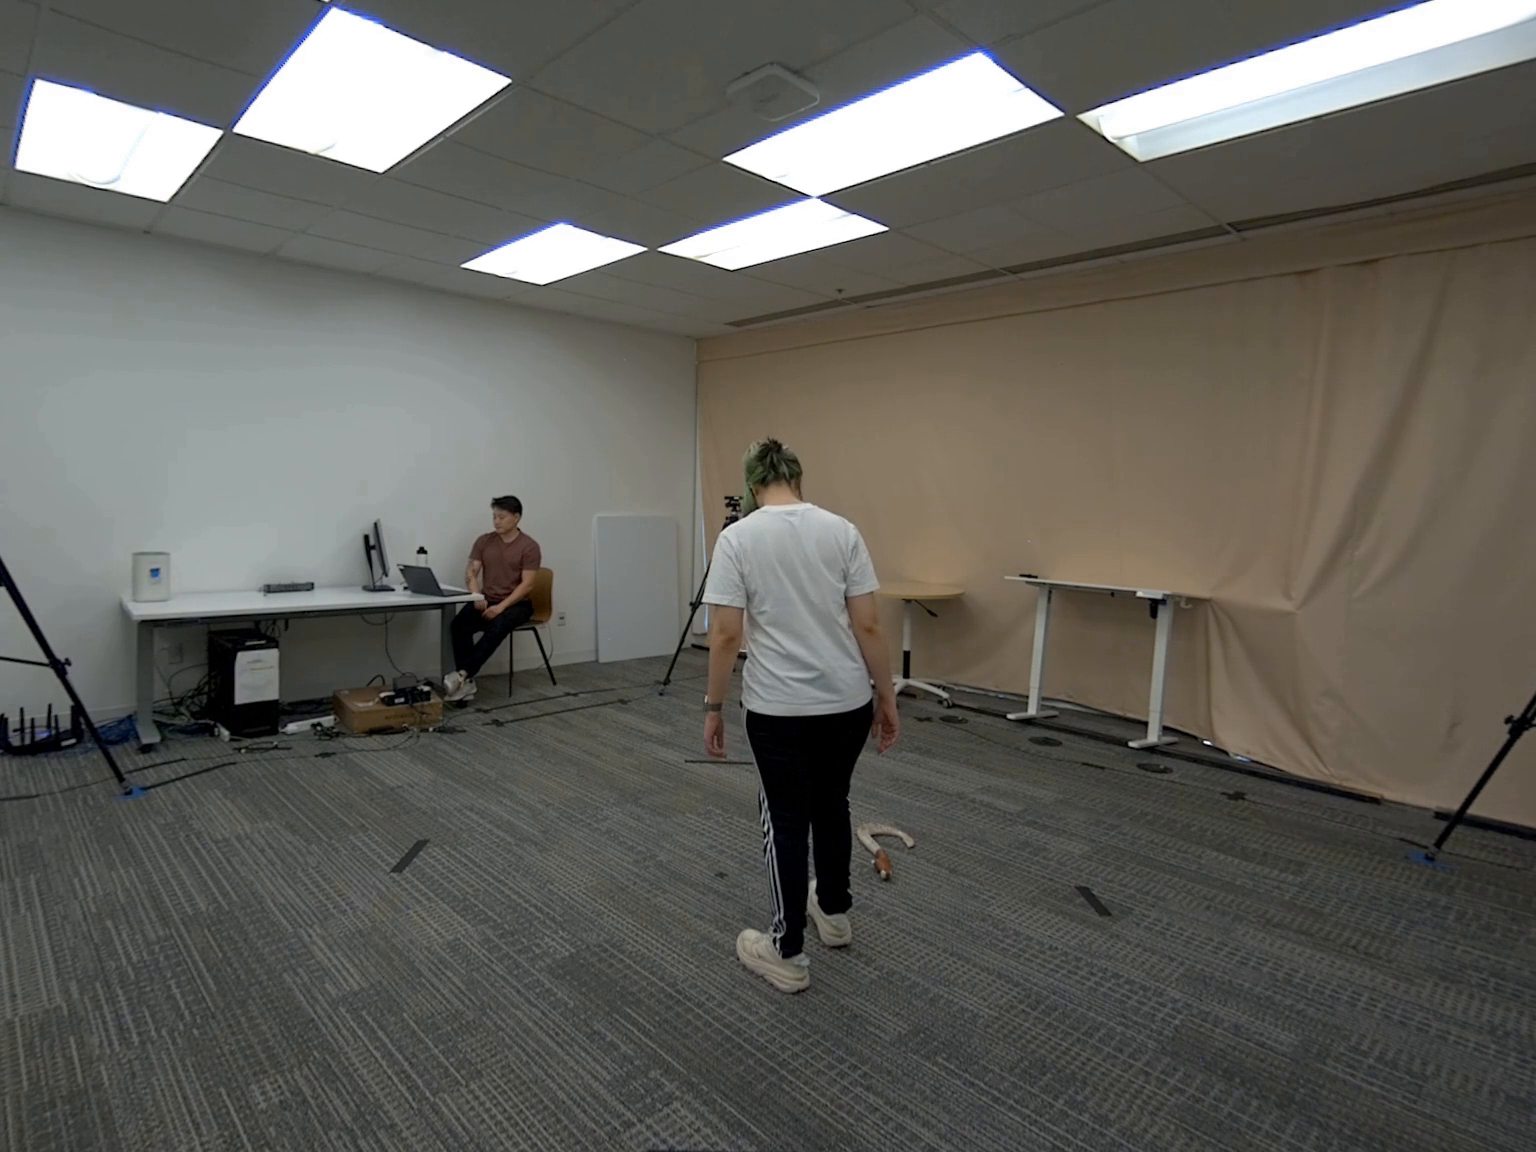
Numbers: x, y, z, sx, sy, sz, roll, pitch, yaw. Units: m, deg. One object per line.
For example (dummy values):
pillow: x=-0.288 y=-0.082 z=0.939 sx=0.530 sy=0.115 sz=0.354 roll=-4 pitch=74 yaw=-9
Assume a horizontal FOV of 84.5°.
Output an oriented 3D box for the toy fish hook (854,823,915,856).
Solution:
toy fish hook: x=0.473 y=1.076 z=3.318 sx=0.225 sy=0.048 sz=0.508 roll=1 pitch=5 yaw=0
